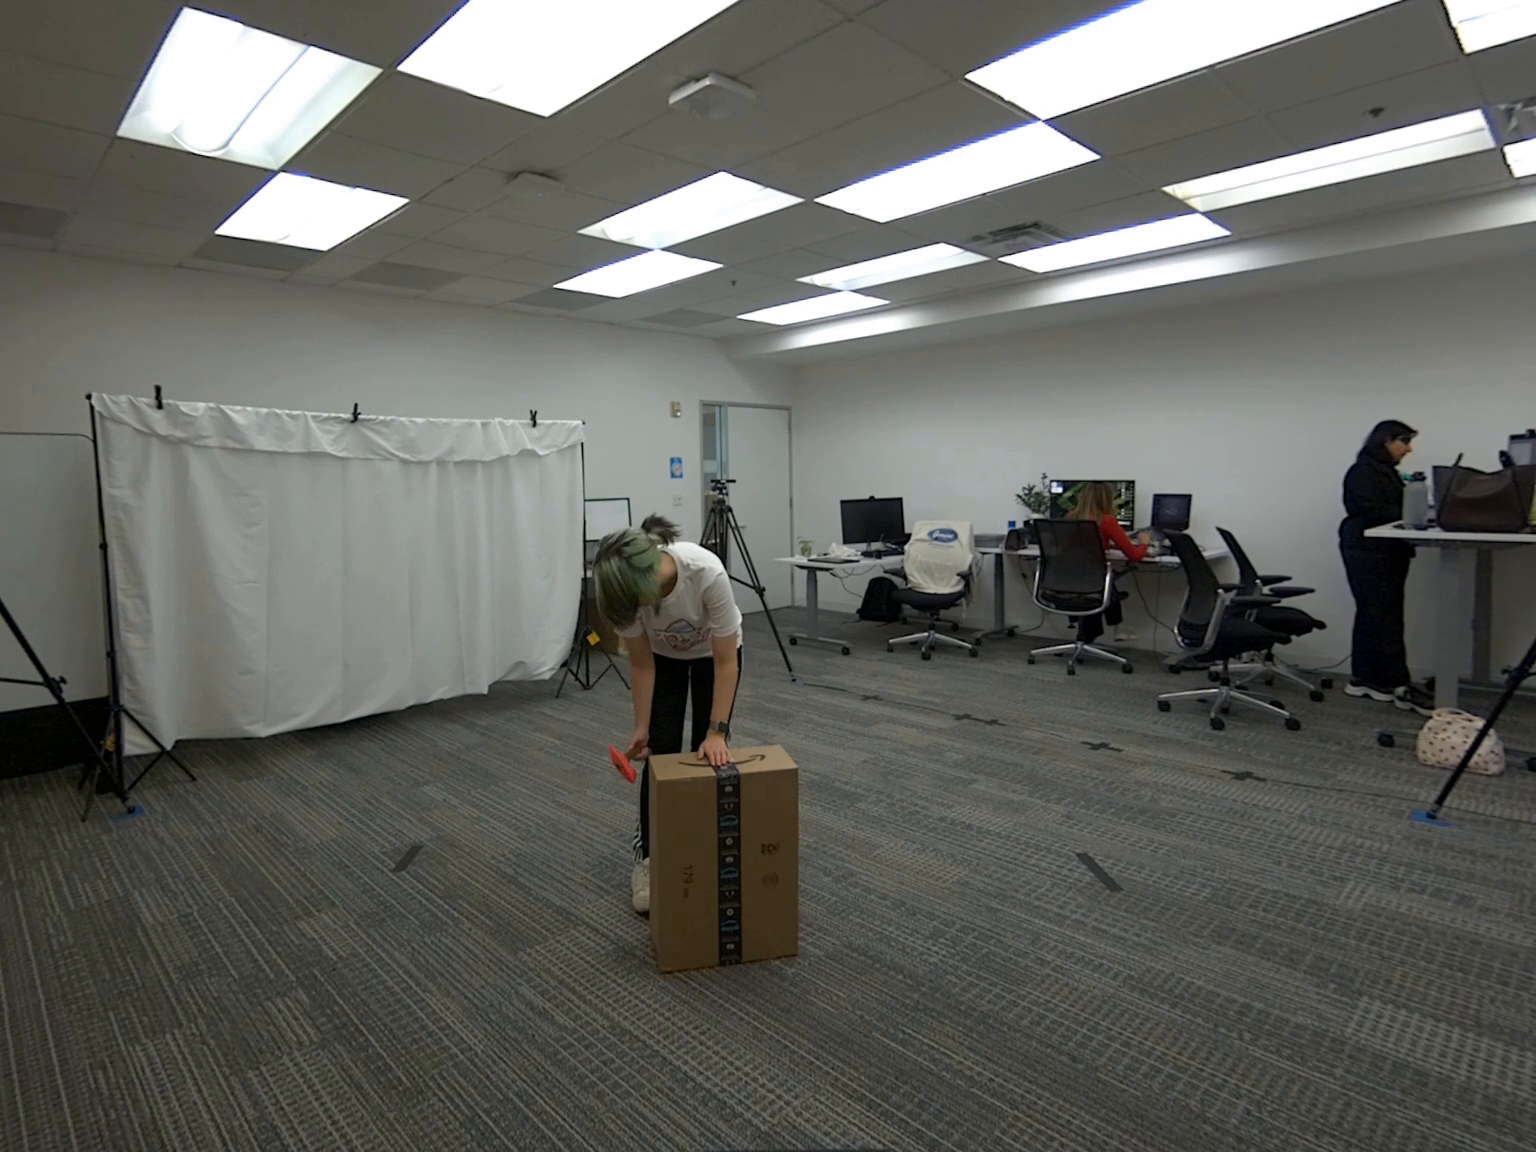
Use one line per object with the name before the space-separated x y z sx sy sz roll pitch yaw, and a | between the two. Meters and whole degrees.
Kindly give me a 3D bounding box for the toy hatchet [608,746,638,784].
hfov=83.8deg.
toy hatchet | -0.407 0.577 2.659 0.030 0.134 0.262 -35 -21 10
